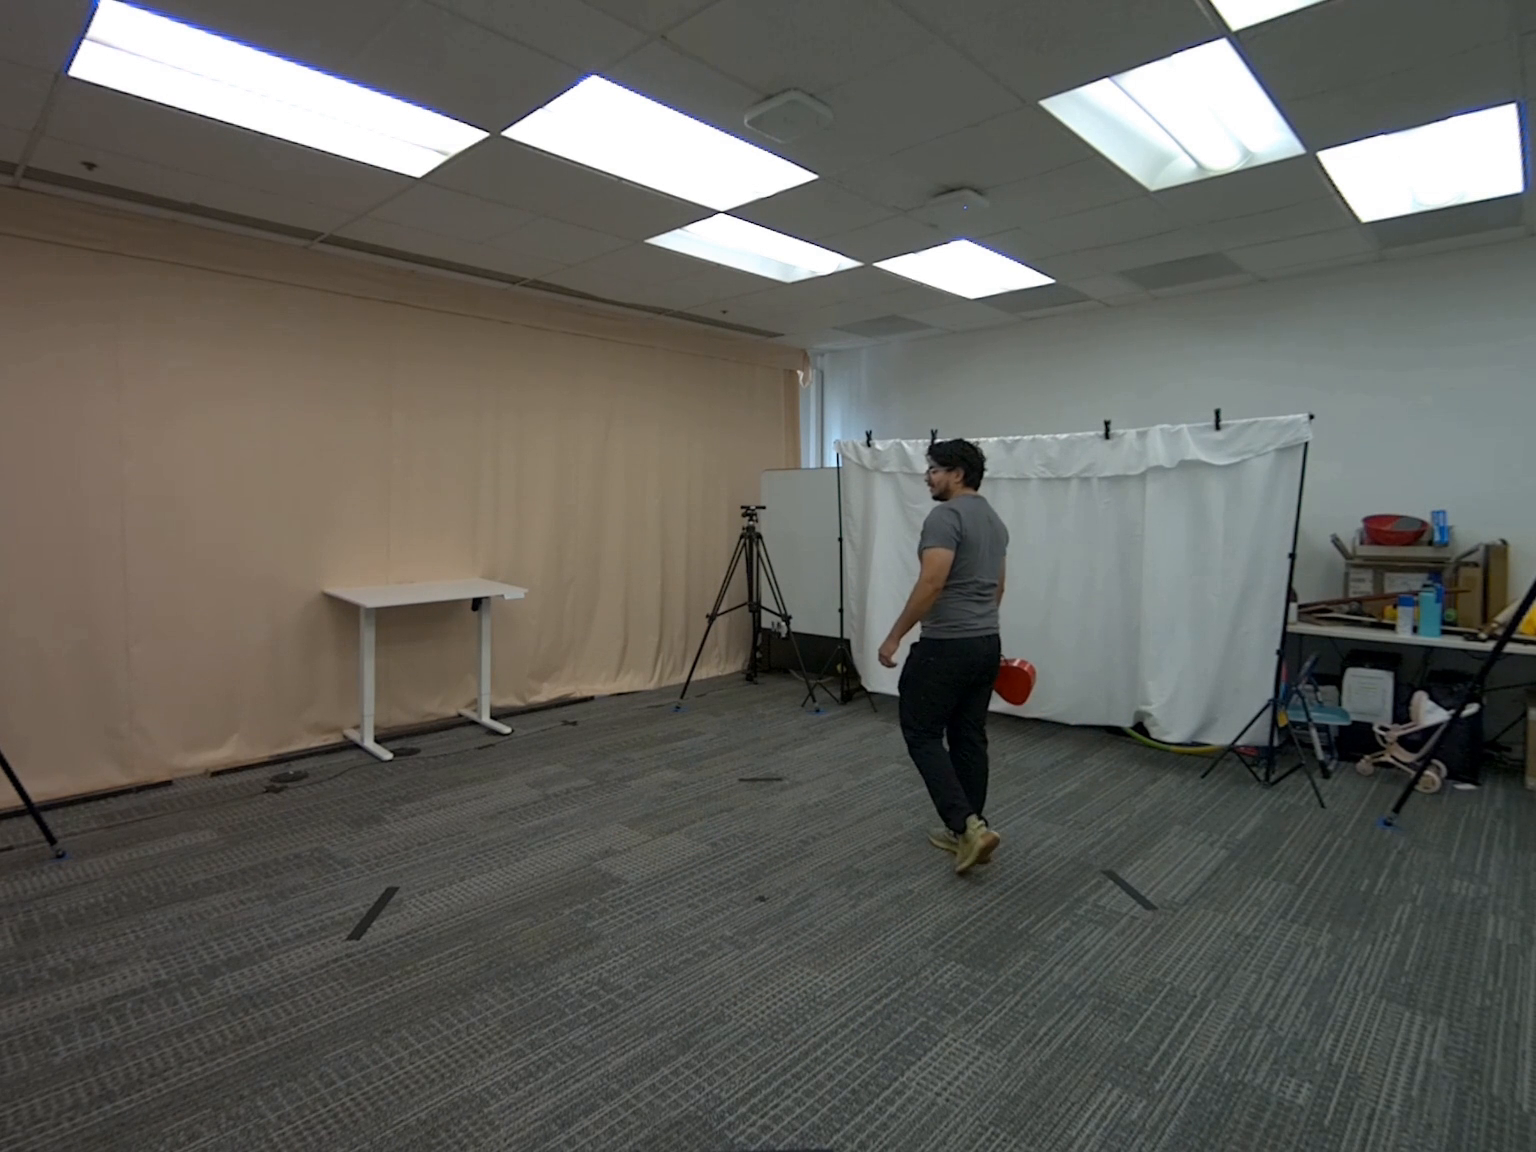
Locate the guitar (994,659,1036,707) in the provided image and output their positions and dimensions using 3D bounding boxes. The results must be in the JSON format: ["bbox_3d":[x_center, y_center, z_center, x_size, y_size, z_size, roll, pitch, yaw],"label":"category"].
[{"bbox_3d":[0.885,0.404,3.550,0.515,0.189,0.069,14,33,34],"label":"guitar"}]
